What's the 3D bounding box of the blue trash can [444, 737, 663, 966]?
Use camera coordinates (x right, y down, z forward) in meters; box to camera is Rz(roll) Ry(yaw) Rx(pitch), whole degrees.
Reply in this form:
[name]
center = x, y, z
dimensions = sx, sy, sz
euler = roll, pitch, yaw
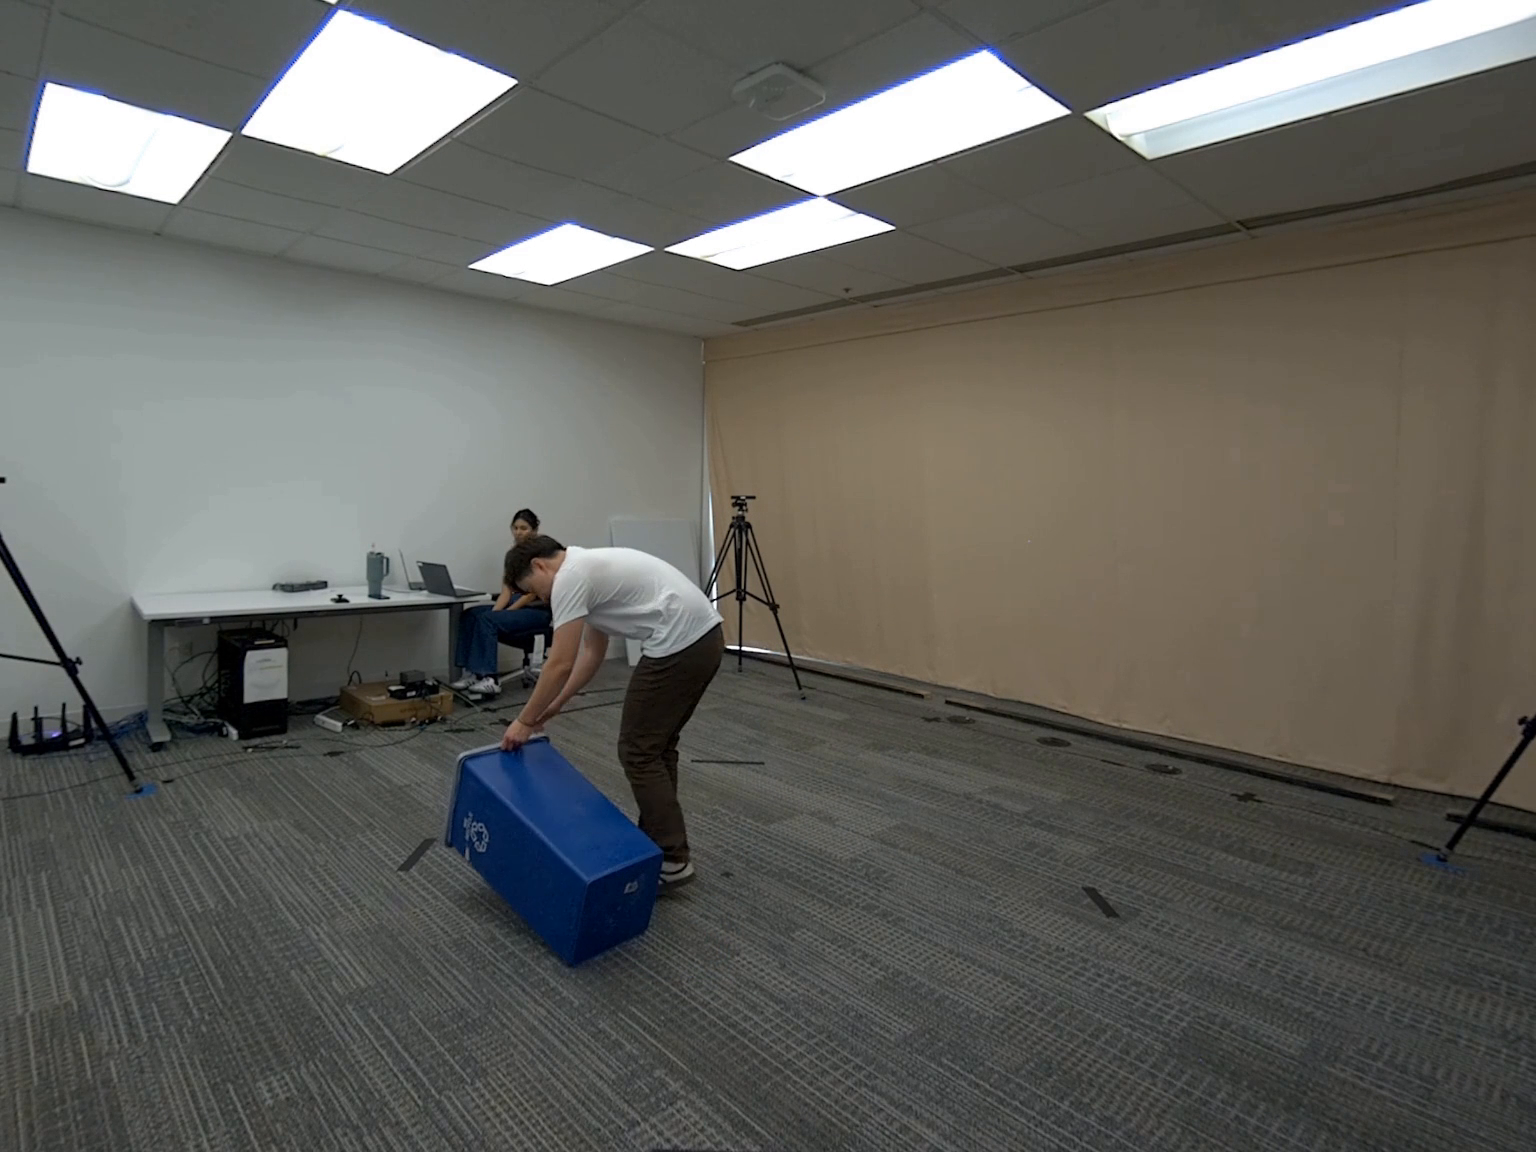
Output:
[blue trash can]
center = -0.706, 0.874, 2.743
dimensions = 0.735, 0.375, 0.366
euler = 24, 17, 37
